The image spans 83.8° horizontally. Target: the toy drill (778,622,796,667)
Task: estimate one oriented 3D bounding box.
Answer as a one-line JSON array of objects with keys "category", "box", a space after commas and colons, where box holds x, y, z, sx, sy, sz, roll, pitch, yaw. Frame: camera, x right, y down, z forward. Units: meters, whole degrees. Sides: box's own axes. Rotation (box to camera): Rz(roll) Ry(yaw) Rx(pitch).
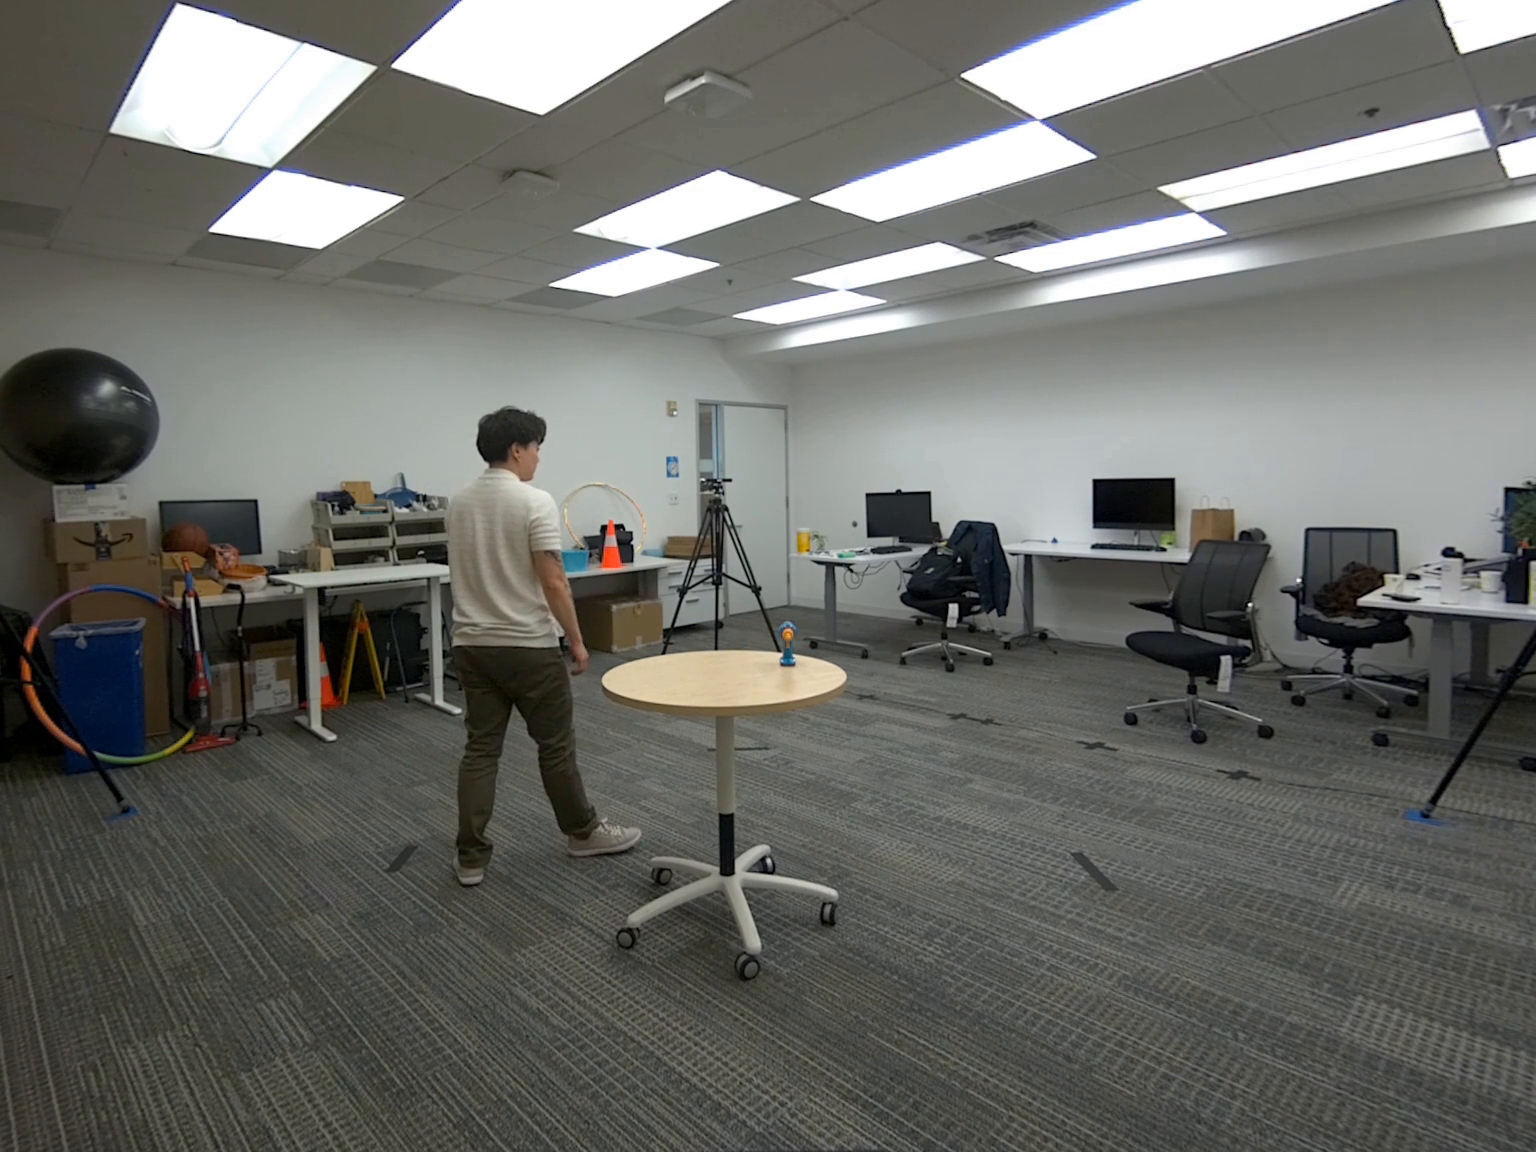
[{"category": "toy drill", "box": [0.069, 0.223, 2.771, 0.061, 0.145, 0.170, 1, 6, -1]}]
